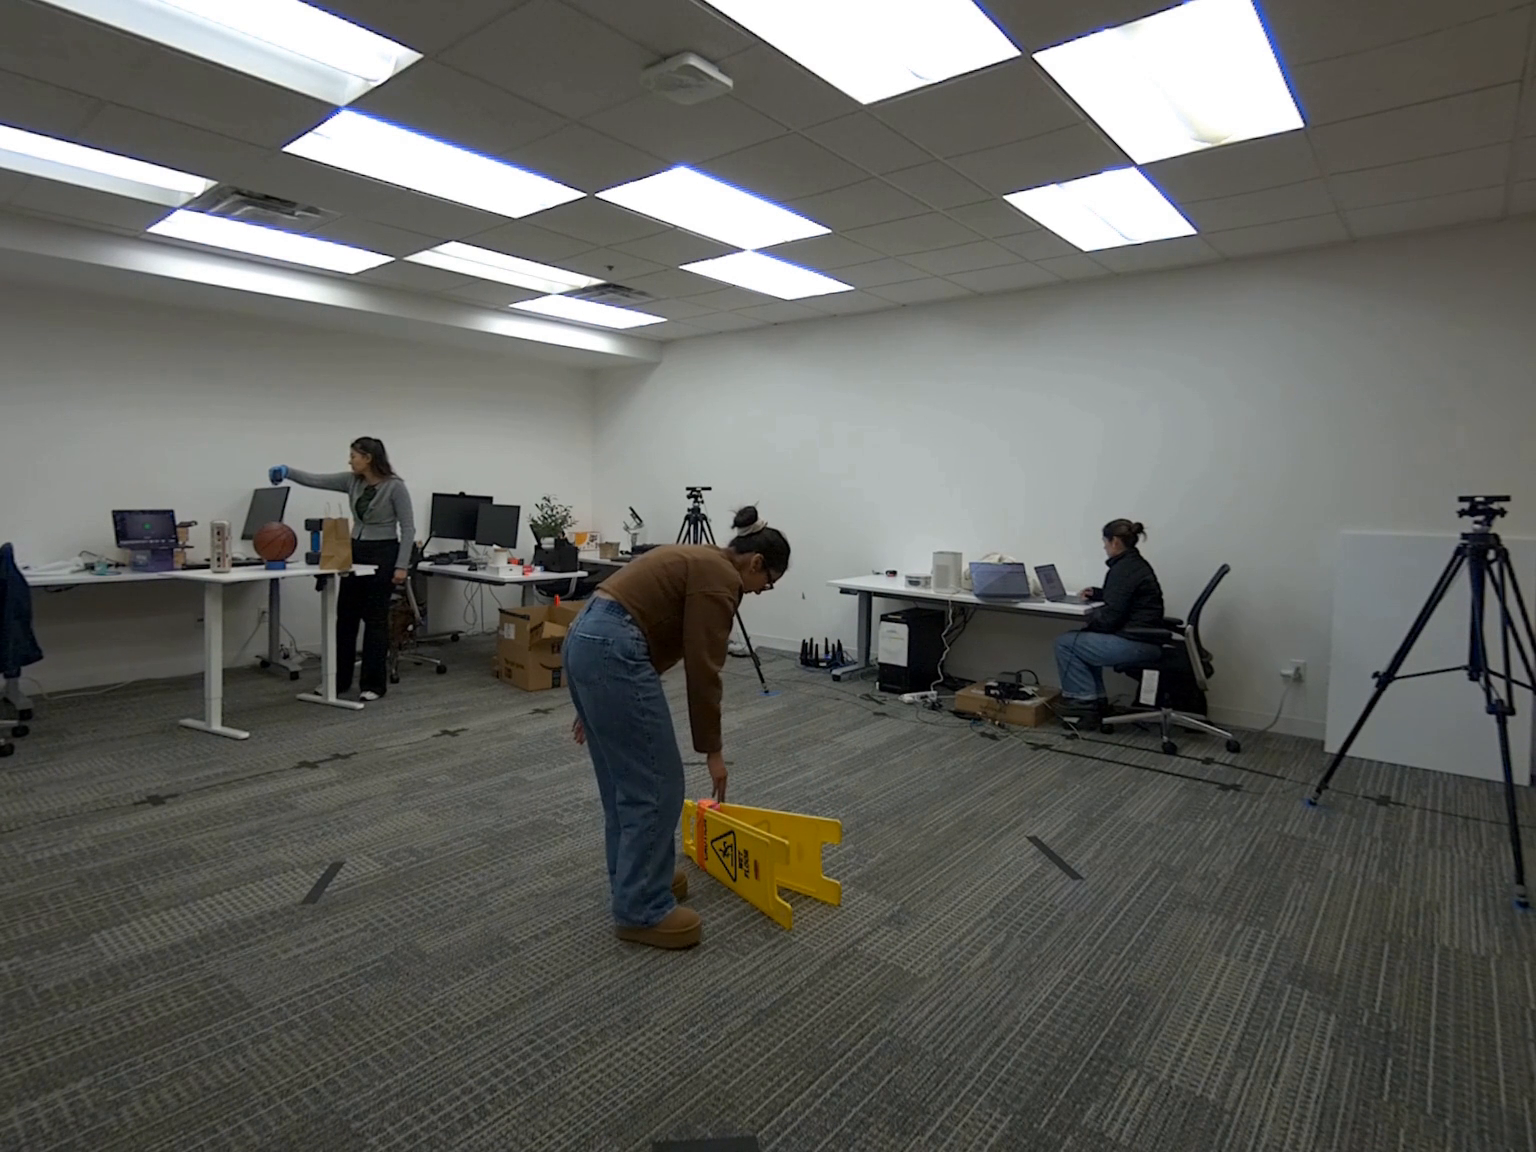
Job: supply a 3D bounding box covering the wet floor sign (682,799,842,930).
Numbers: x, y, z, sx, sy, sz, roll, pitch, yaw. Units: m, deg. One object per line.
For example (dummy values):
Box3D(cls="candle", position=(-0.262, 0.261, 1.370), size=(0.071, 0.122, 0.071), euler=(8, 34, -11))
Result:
Box3D(cls="wet floor sign", position=(-0.095, 0.951, 2.987), size=(0.667, 0.282, 0.281), euler=(1, 3, 45))
